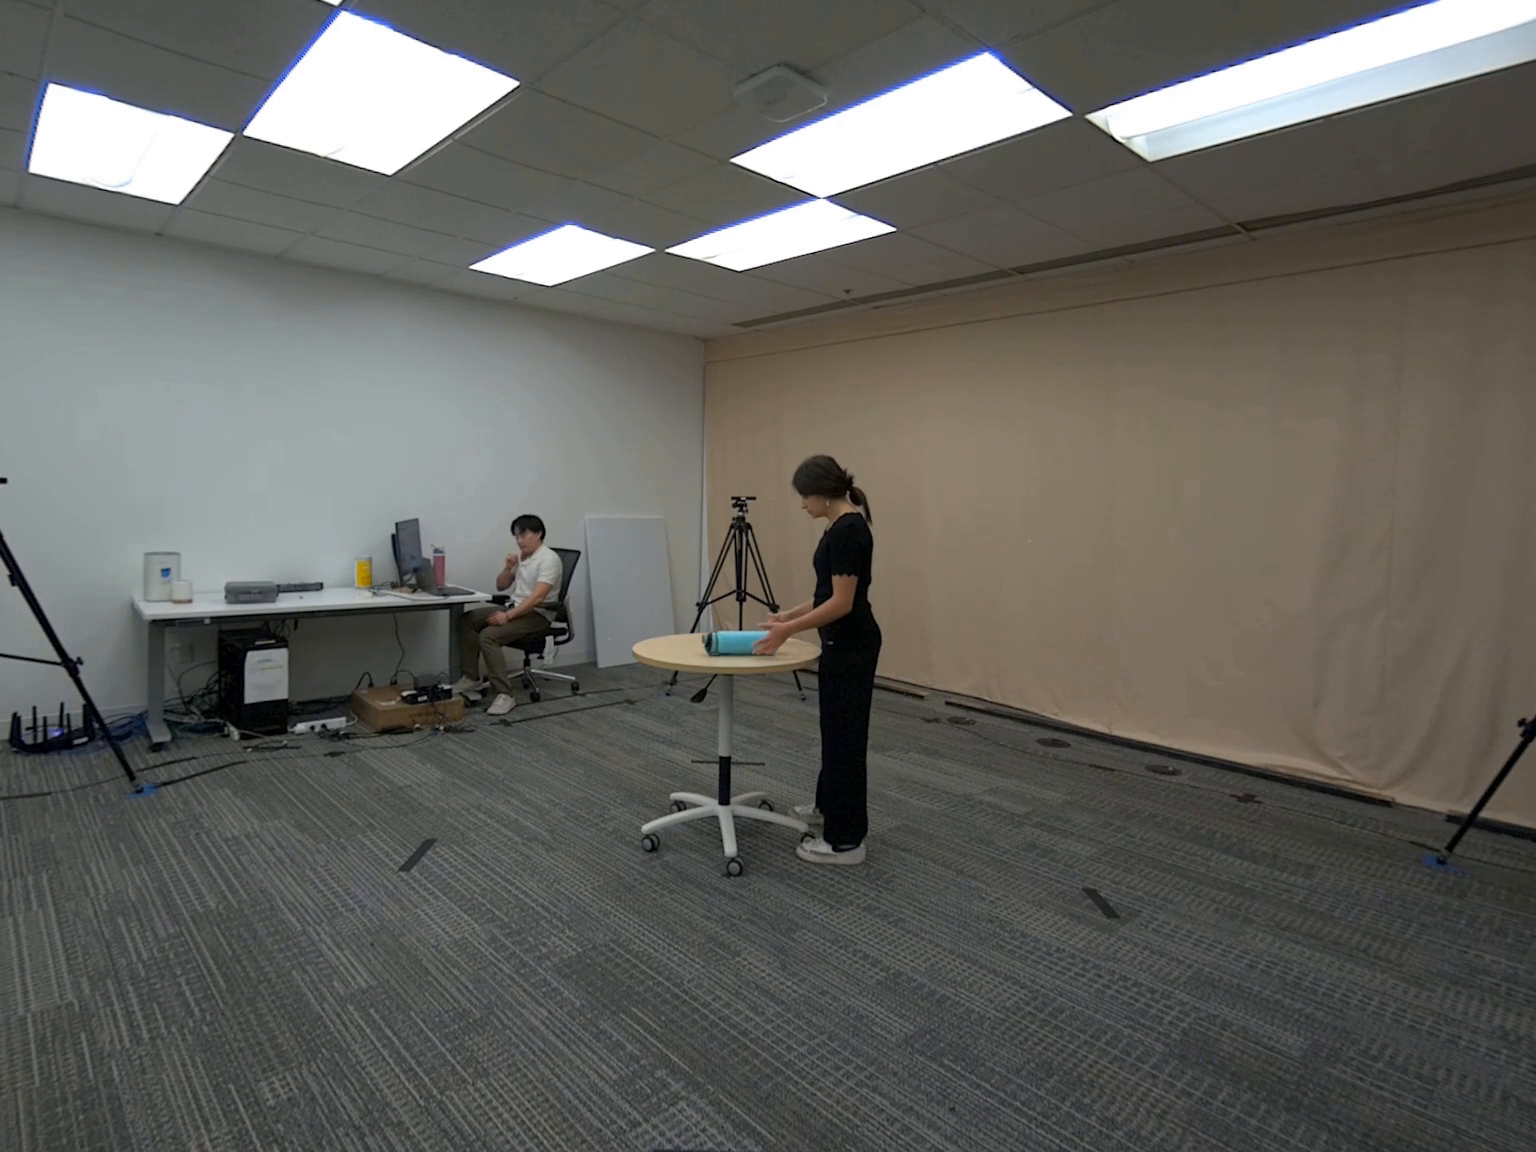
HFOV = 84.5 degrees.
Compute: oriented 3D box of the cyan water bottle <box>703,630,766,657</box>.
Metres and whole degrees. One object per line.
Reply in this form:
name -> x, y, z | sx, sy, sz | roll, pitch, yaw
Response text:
cyan water bottle -> -0.123, 0.258, 3.276 | 0.281, 0.092, 0.093 | -1, 4, -11
